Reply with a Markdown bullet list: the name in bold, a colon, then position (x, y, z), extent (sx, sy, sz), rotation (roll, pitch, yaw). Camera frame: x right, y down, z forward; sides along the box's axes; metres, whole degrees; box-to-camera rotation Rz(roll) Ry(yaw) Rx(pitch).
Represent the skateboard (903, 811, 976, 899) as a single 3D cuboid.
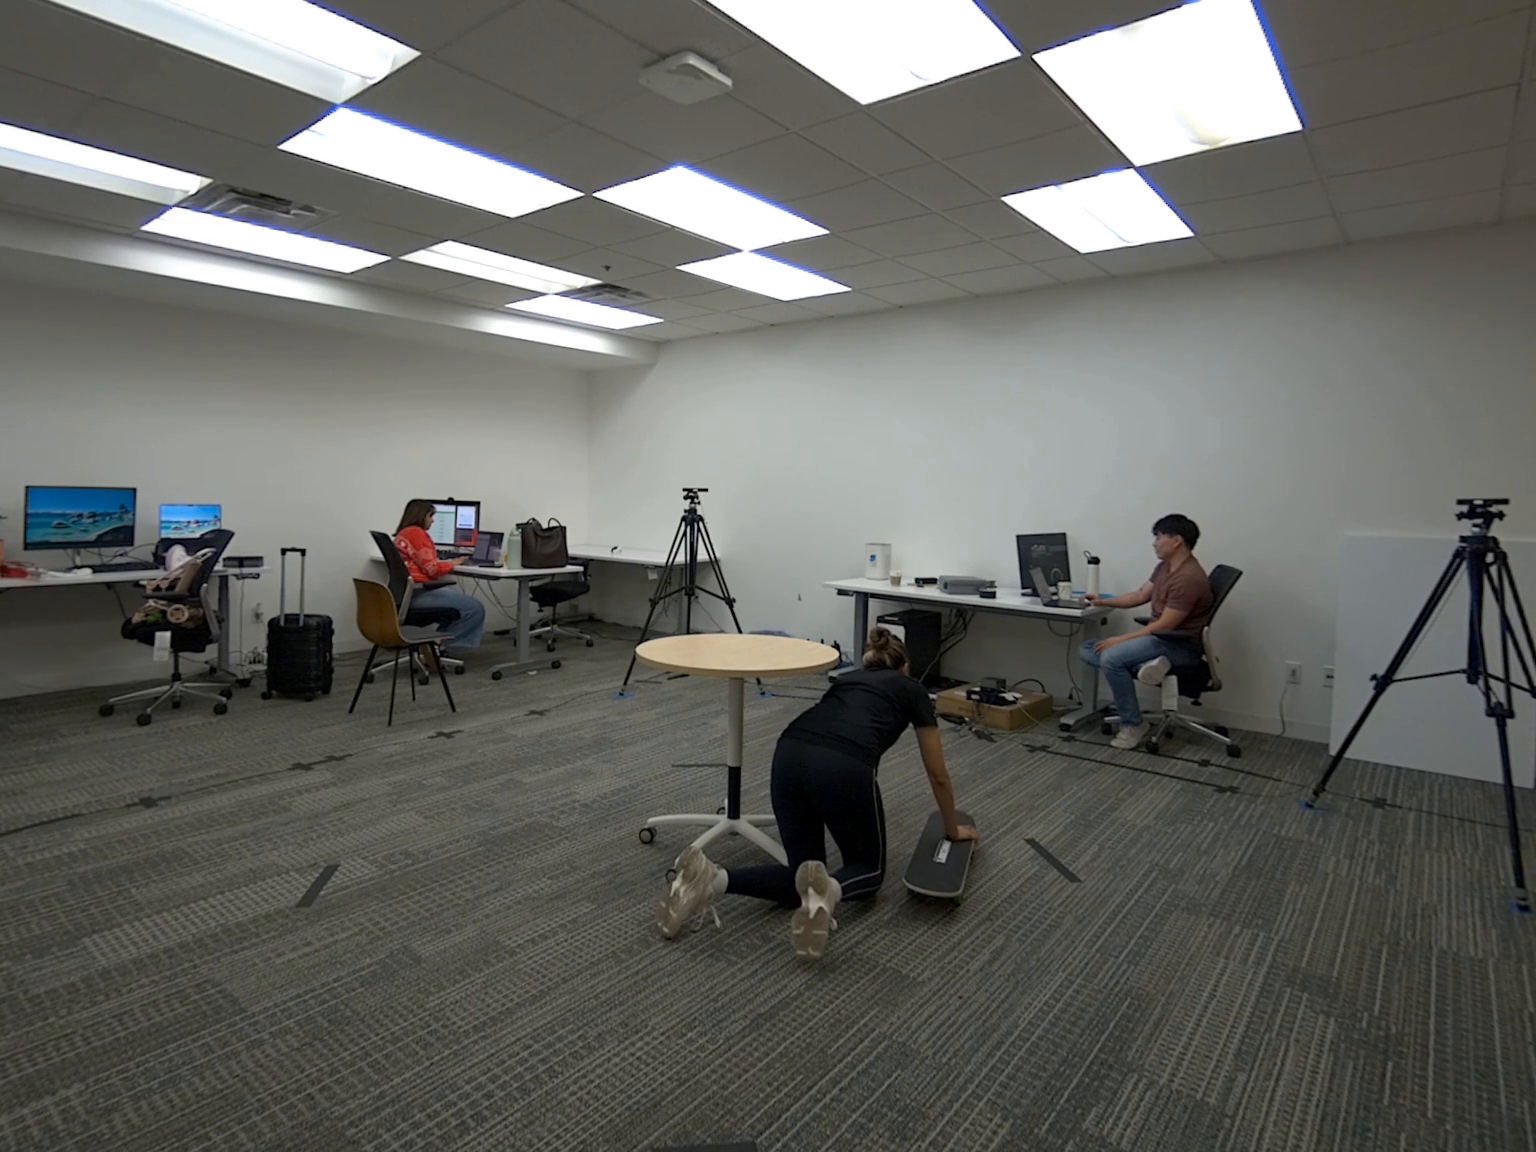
- **skateboard**: position (0.633, 1.034, 3.112), extent (0.198, 0.110, 0.771), rotation (6, 7, 19)
